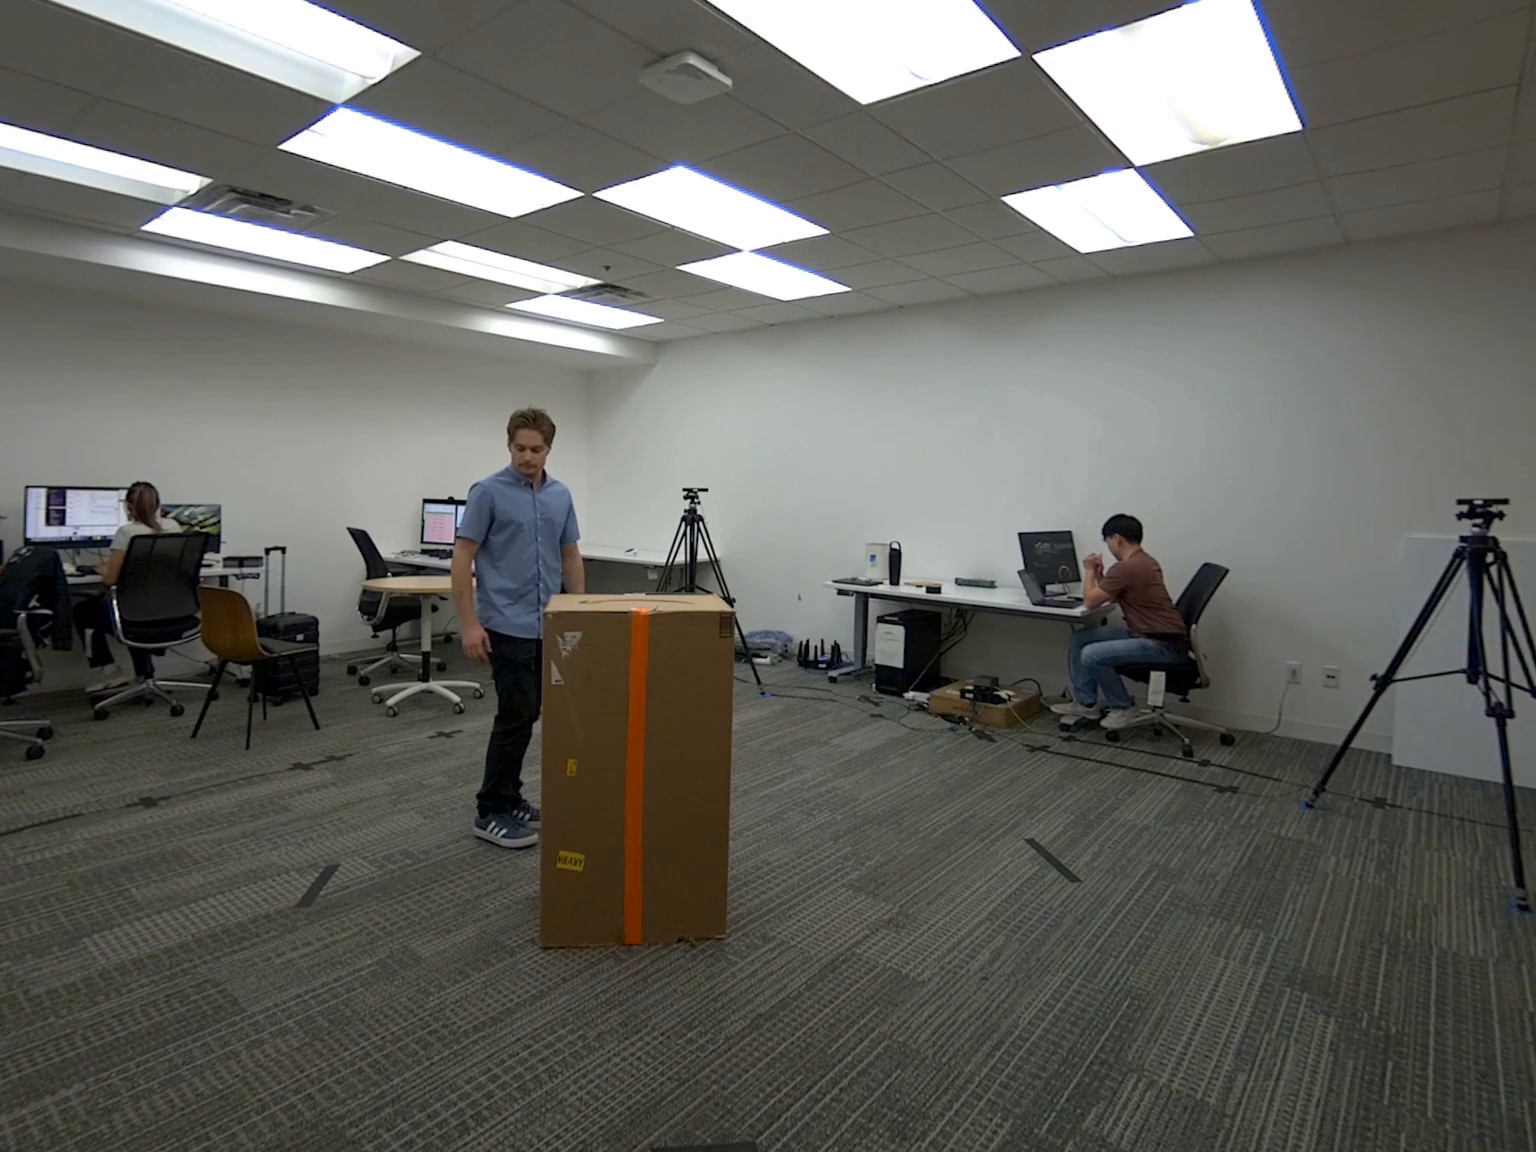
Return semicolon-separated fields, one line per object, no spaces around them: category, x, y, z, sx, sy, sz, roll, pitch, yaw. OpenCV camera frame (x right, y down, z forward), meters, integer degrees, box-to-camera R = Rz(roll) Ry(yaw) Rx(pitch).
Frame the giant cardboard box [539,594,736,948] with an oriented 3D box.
giant cardboard box;-0.446;0.589;2.765;0.572;1.023;0.431;1;3;-9
